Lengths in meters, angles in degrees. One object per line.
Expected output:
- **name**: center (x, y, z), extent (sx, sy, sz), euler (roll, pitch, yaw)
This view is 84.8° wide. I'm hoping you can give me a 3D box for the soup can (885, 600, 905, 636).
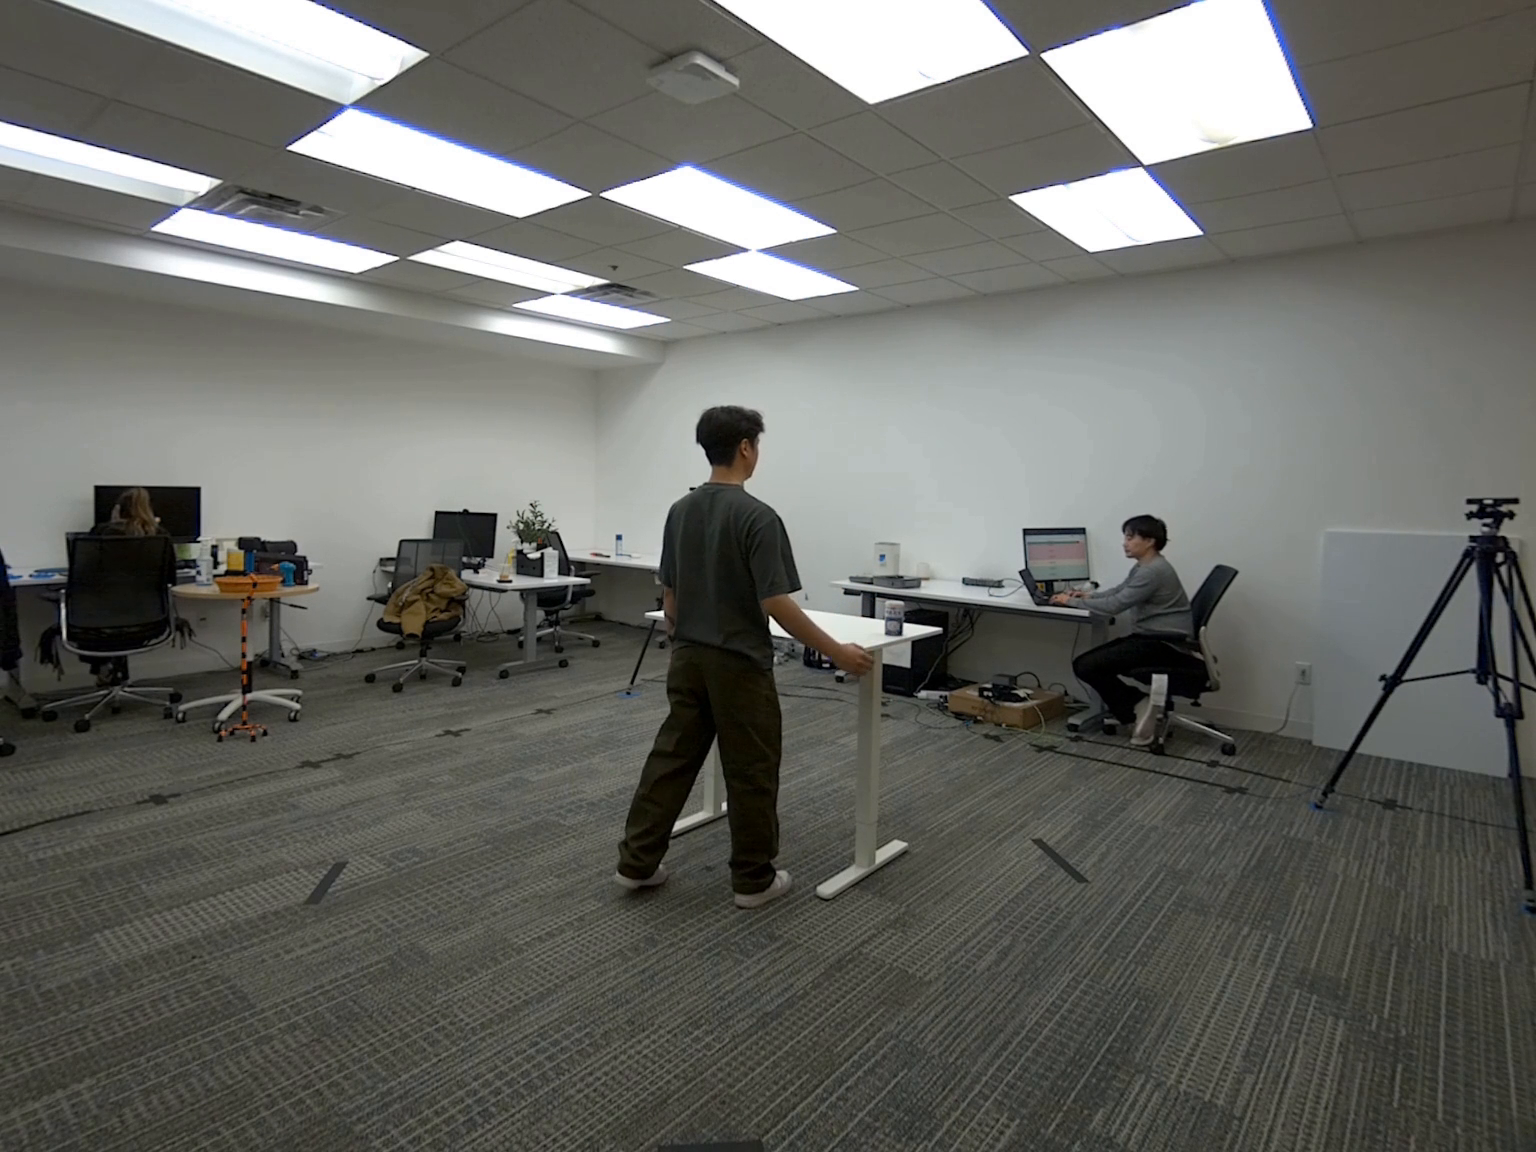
- **soup can**: center (0.442, 0.152, 3.030), extent (0.067, 0.121, 0.067), euler (2, 0, -2)
